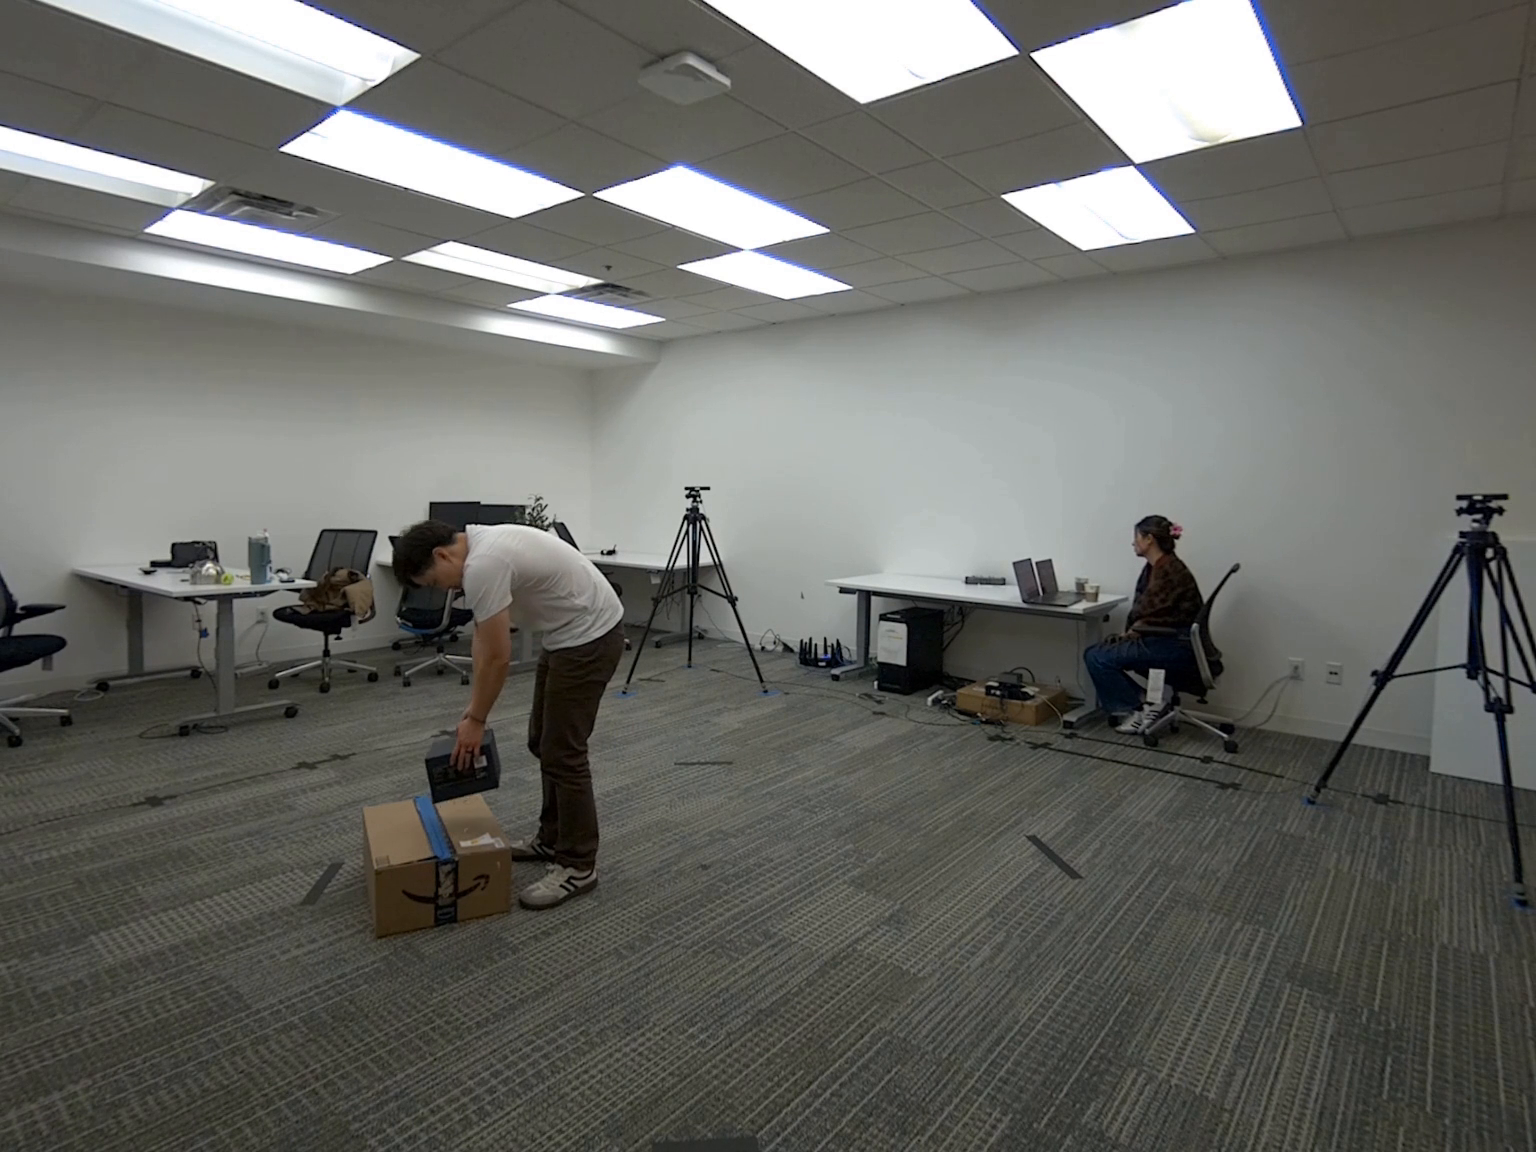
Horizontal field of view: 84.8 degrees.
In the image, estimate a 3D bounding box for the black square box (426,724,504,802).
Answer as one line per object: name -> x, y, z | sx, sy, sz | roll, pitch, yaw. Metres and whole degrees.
black square box -> -1.053, 0.645, 2.935 | 0.215, 0.155, 0.232 | -12, 6, -13
